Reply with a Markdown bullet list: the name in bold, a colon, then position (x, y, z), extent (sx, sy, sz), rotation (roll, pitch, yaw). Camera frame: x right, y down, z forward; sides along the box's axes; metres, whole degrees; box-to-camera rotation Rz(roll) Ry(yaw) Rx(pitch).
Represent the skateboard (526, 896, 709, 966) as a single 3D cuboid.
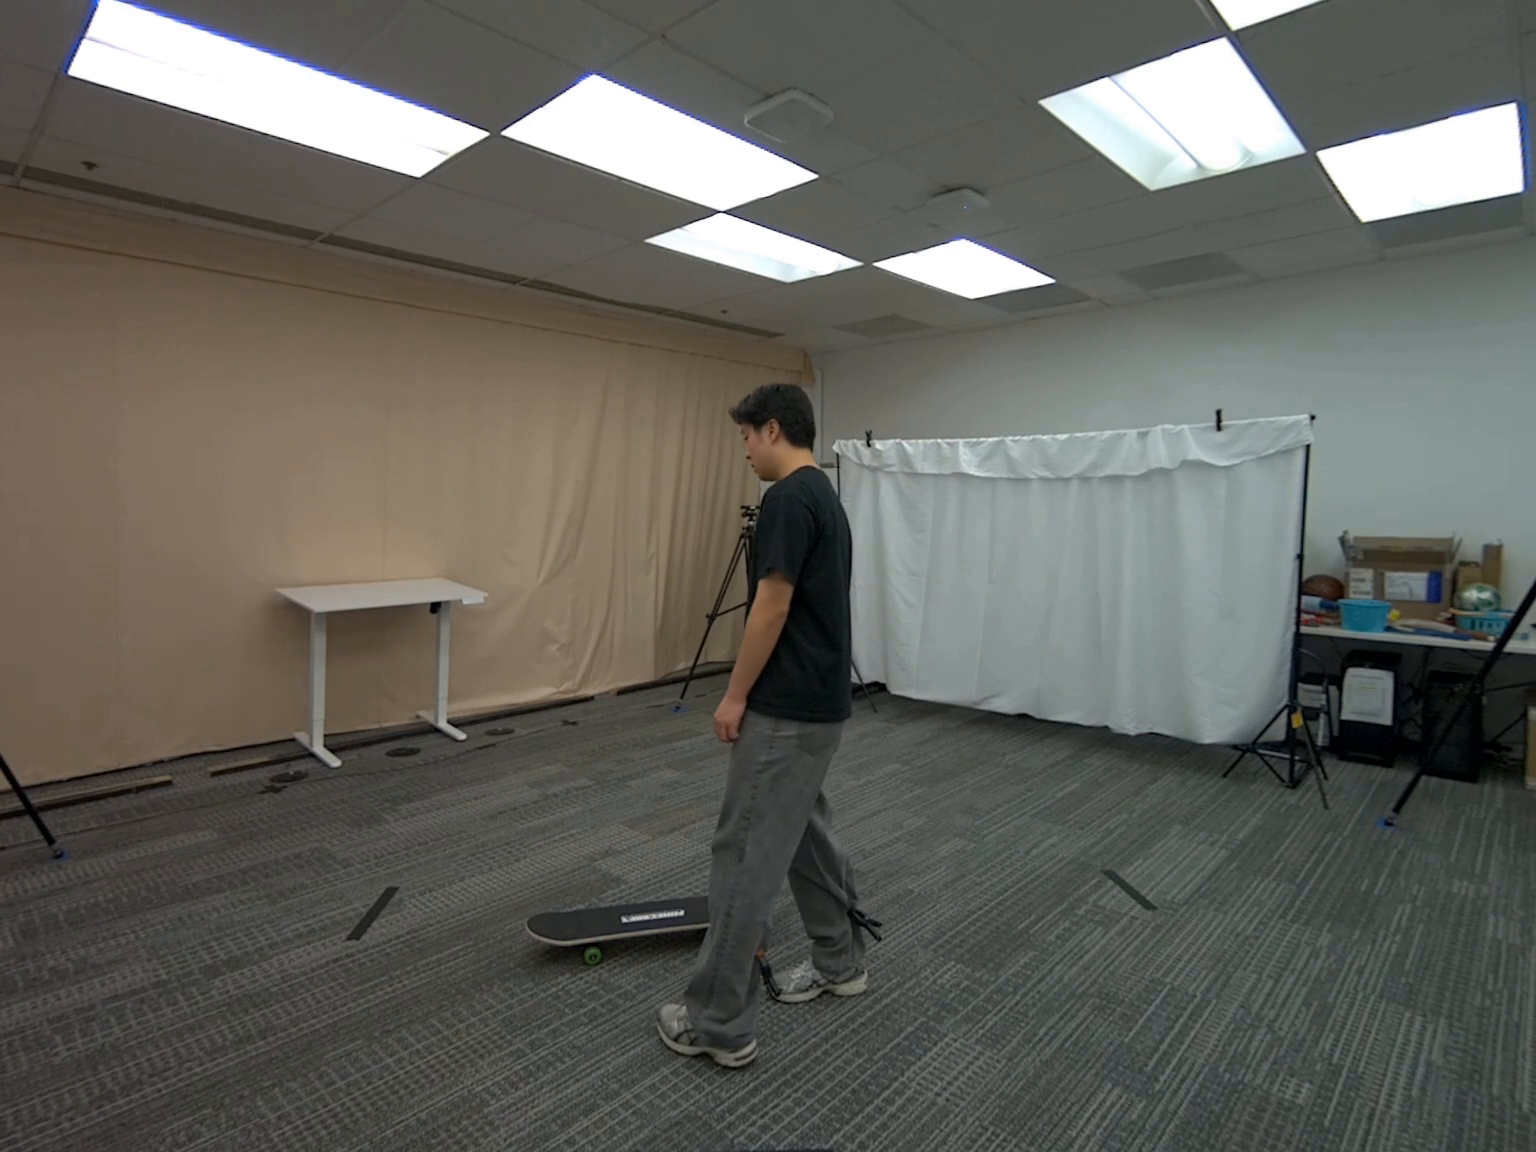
- **skateboard**: position (-0.364, 1.117, 2.677), extent (0.774, 0.110, 0.197), rotation (-1, 5, -13)
